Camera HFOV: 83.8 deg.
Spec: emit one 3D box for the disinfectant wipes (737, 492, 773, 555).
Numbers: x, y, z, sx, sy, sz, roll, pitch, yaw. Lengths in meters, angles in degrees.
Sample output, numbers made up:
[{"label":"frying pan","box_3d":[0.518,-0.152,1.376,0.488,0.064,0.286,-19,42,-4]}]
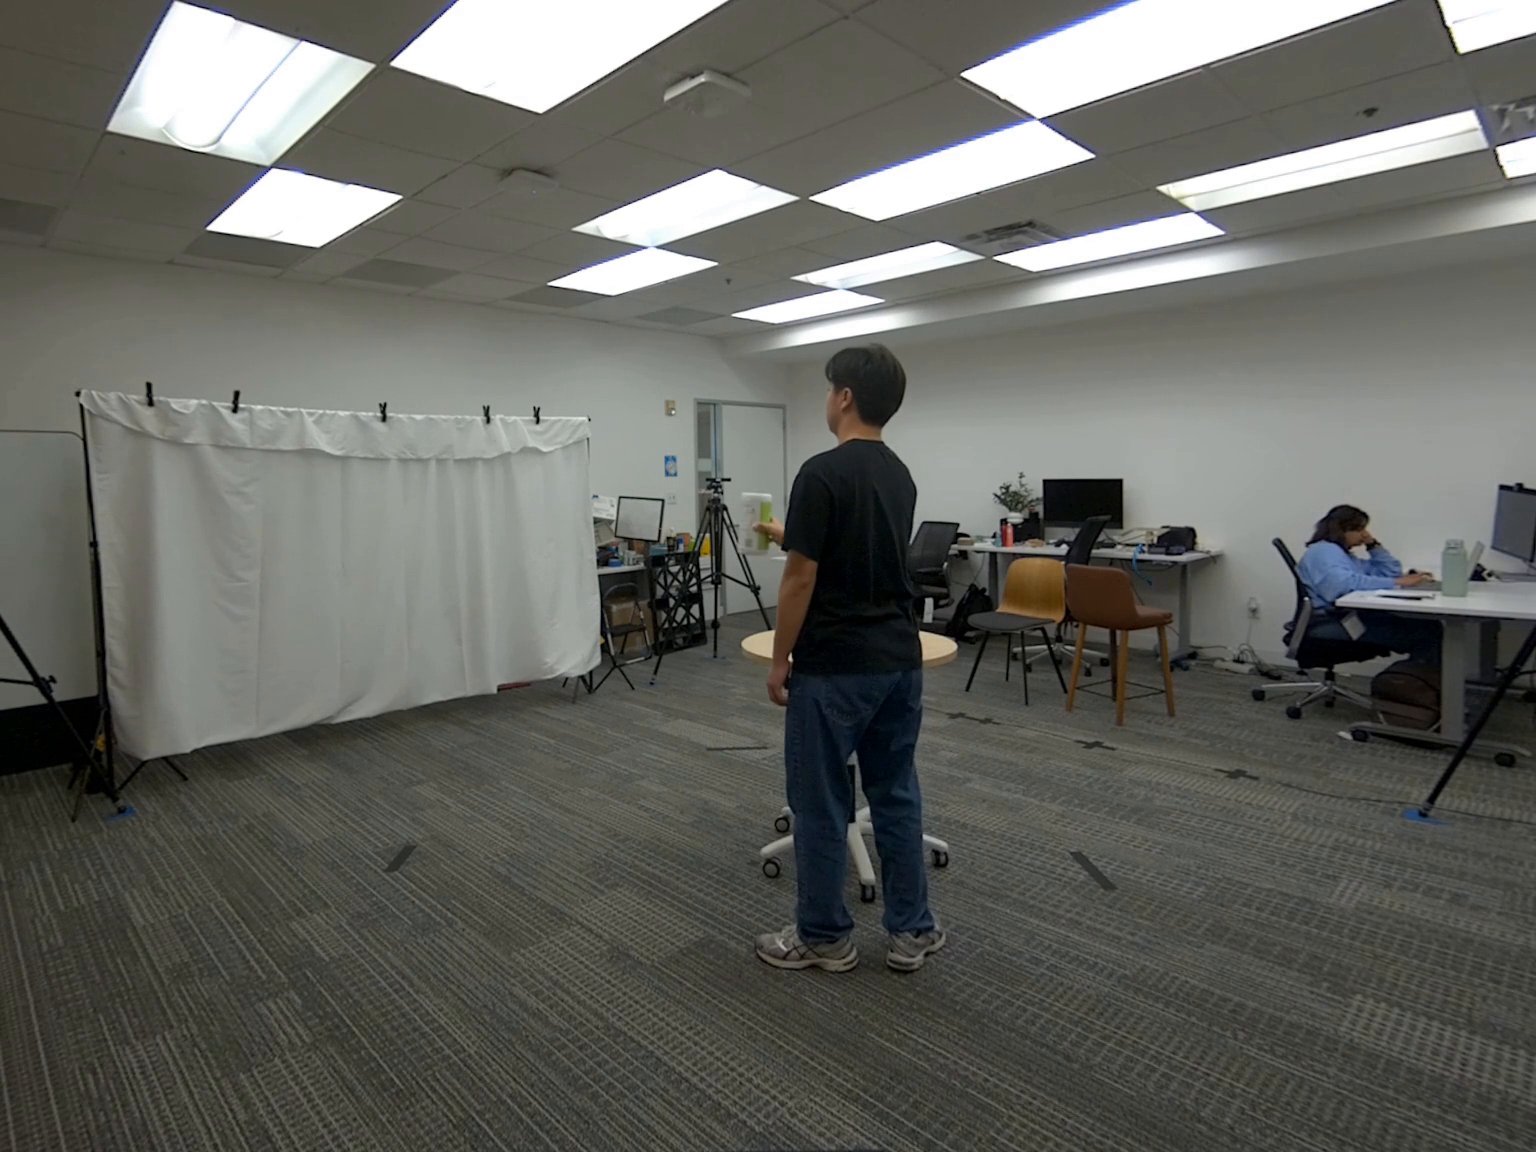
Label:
[{"label":"disinfectant wipes","box_3d":[-0.042,-0.184,2.985,0.117,0.217,0.118,4,3,-2]}]
